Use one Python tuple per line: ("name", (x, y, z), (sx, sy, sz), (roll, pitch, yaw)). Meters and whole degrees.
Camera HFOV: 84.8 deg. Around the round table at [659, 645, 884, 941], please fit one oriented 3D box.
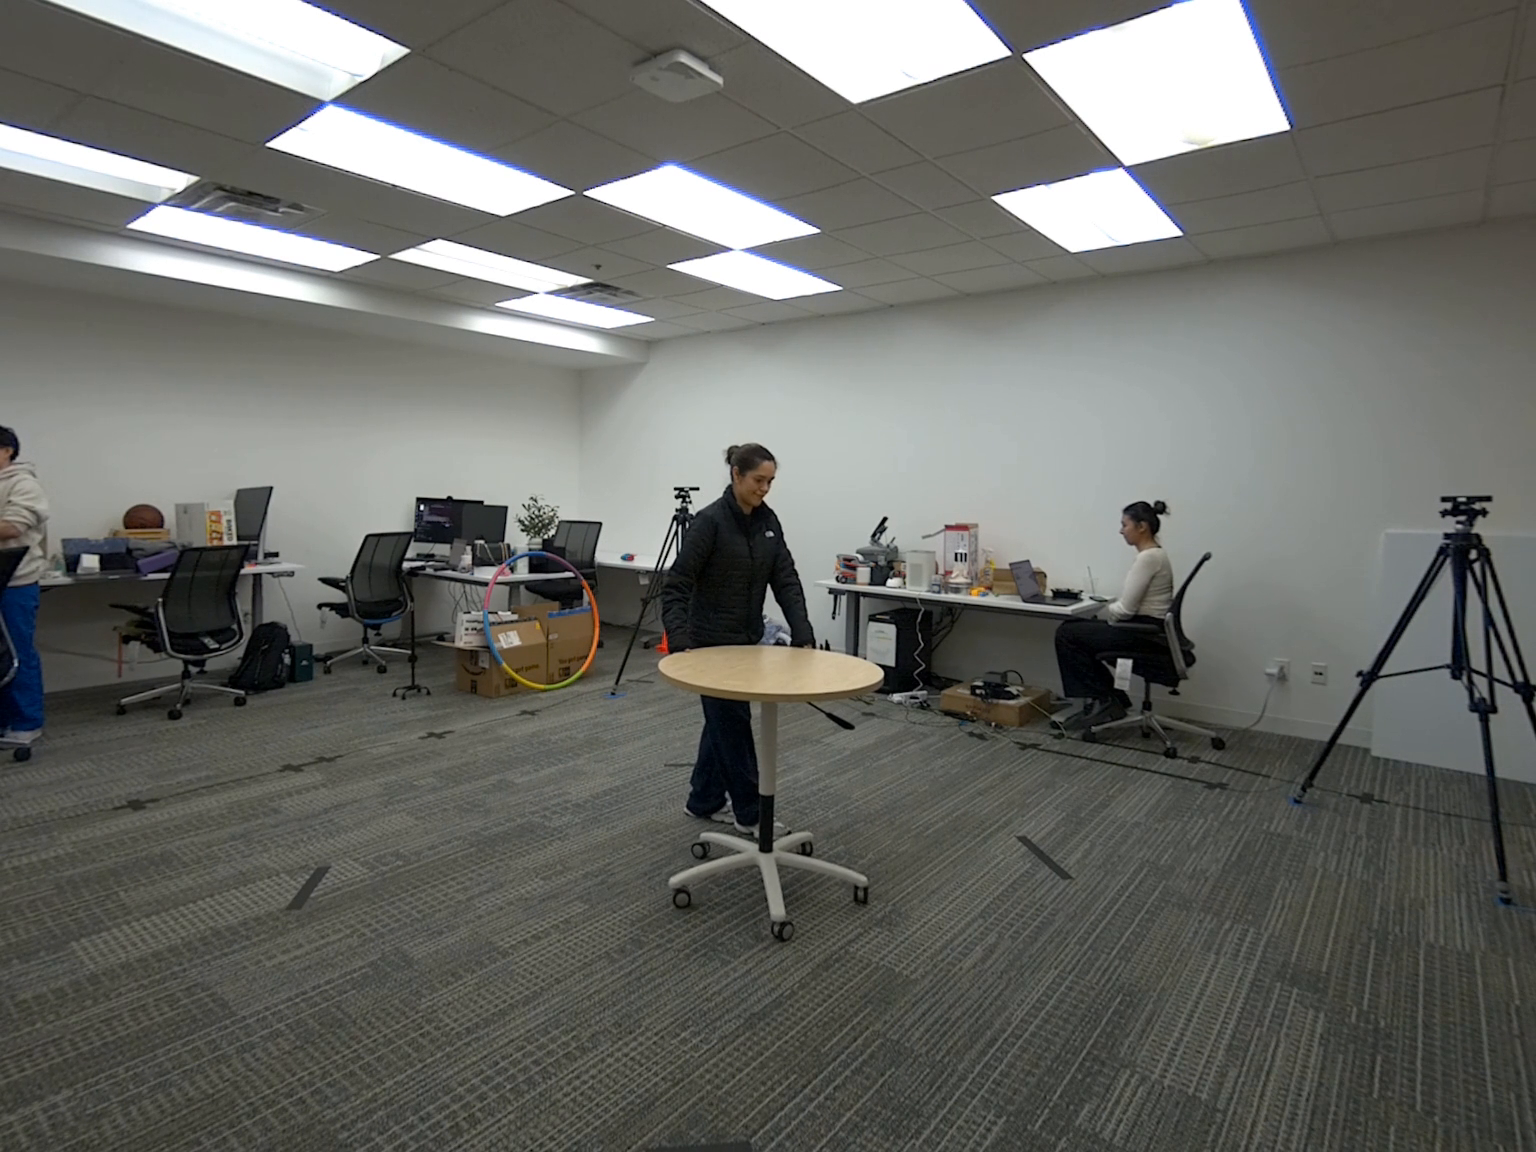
("round table", (0.003, 0.693, 2.929), (0.784, 0.784, 0.789), (1, 4, -2))
